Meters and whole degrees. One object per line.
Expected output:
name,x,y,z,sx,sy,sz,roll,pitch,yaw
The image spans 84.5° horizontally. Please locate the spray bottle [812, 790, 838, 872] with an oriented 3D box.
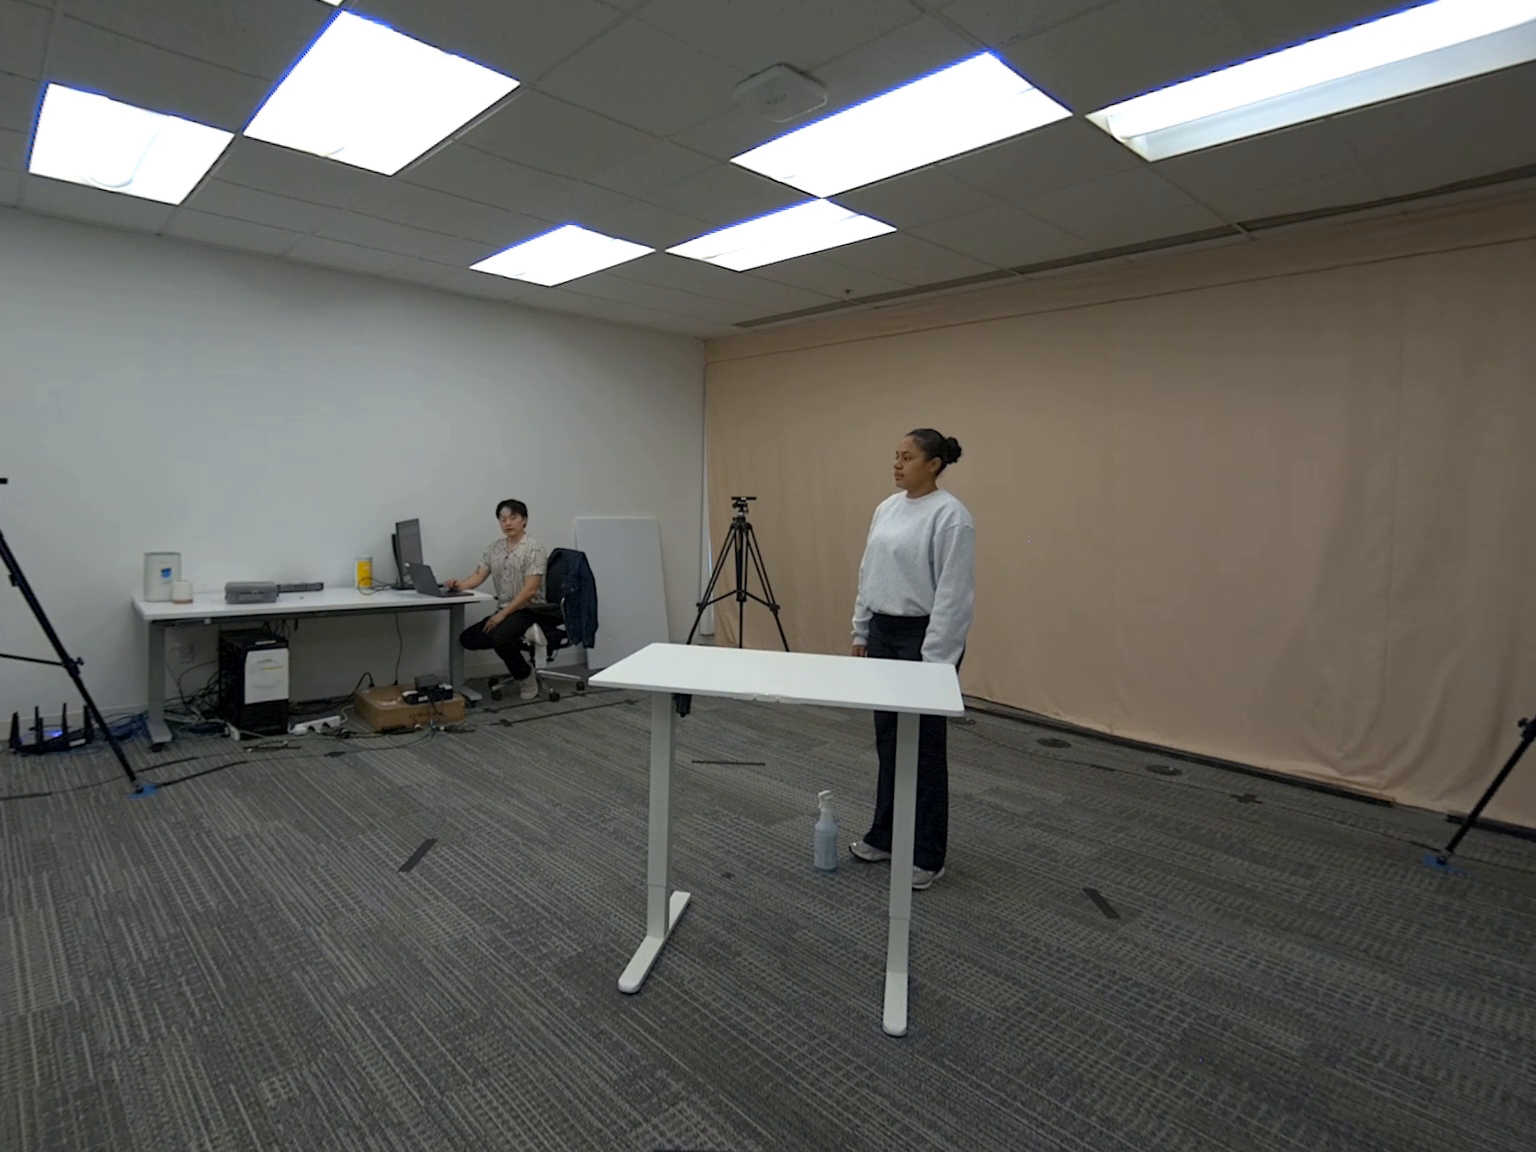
spray bottle,0.211,0.952,3.184,0.088,0.296,0.089,-4,4,-25
